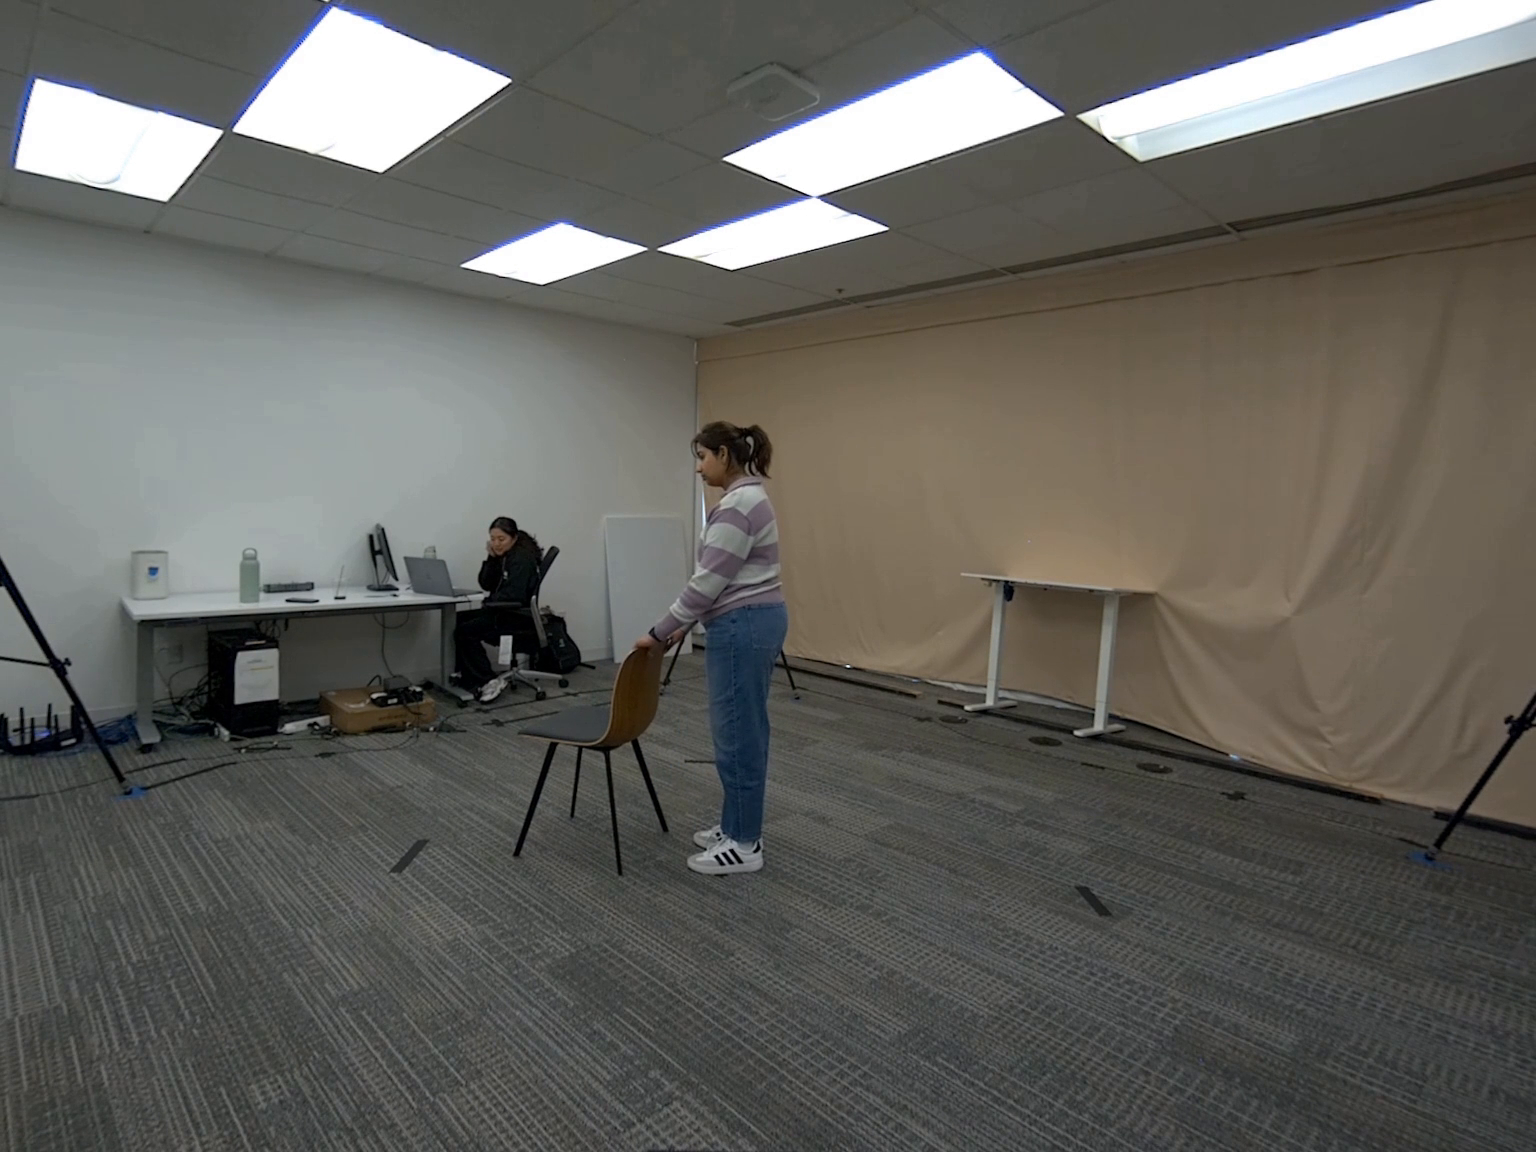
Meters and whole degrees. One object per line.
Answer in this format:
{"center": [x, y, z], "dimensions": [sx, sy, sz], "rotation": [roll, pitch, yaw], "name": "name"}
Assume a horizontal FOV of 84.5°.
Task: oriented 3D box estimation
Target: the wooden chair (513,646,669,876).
{"center": [-0.690, 0.635, 3.317], "dimensions": [0.531, 0.874, 0.472], "rotation": [7, 5, 17], "name": "wooden chair"}
